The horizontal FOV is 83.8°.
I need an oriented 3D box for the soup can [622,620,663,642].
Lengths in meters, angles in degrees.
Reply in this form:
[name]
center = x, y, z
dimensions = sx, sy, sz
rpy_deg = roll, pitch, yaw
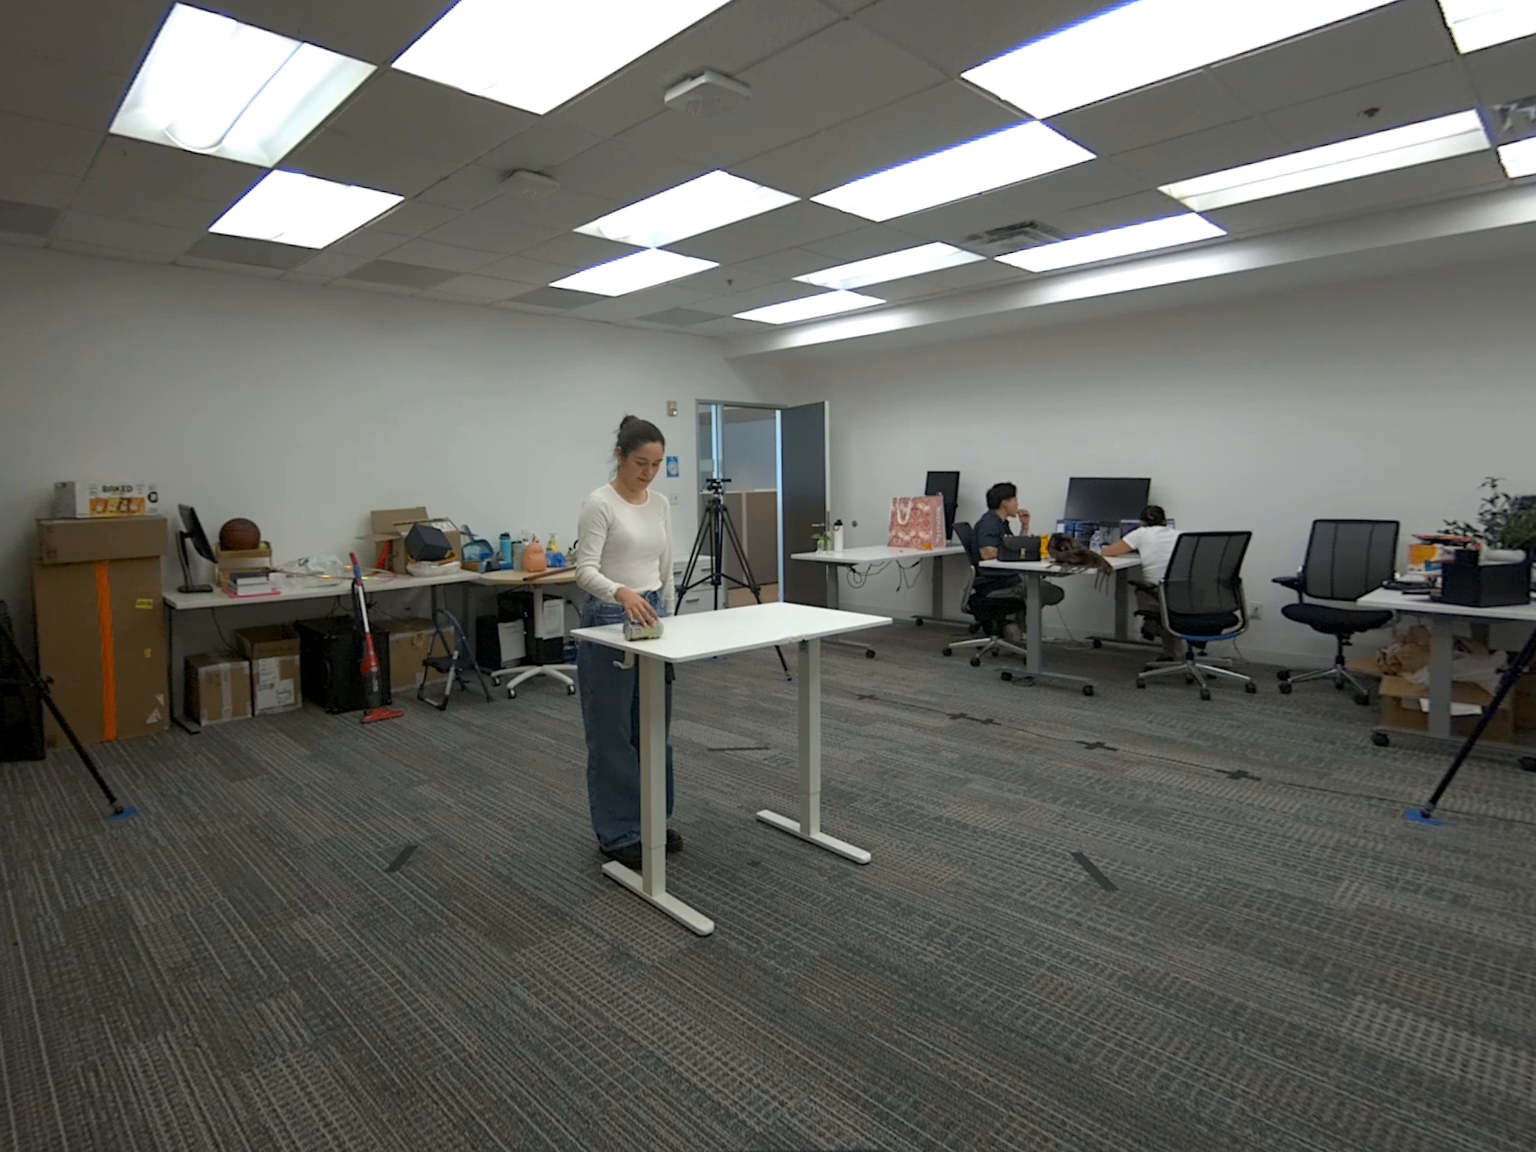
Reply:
[soup can]
center = -0.396, 0.174, 2.759
dimensions = 0.119, 0.067, 0.069
rpy_deg = -4, 6, -23
